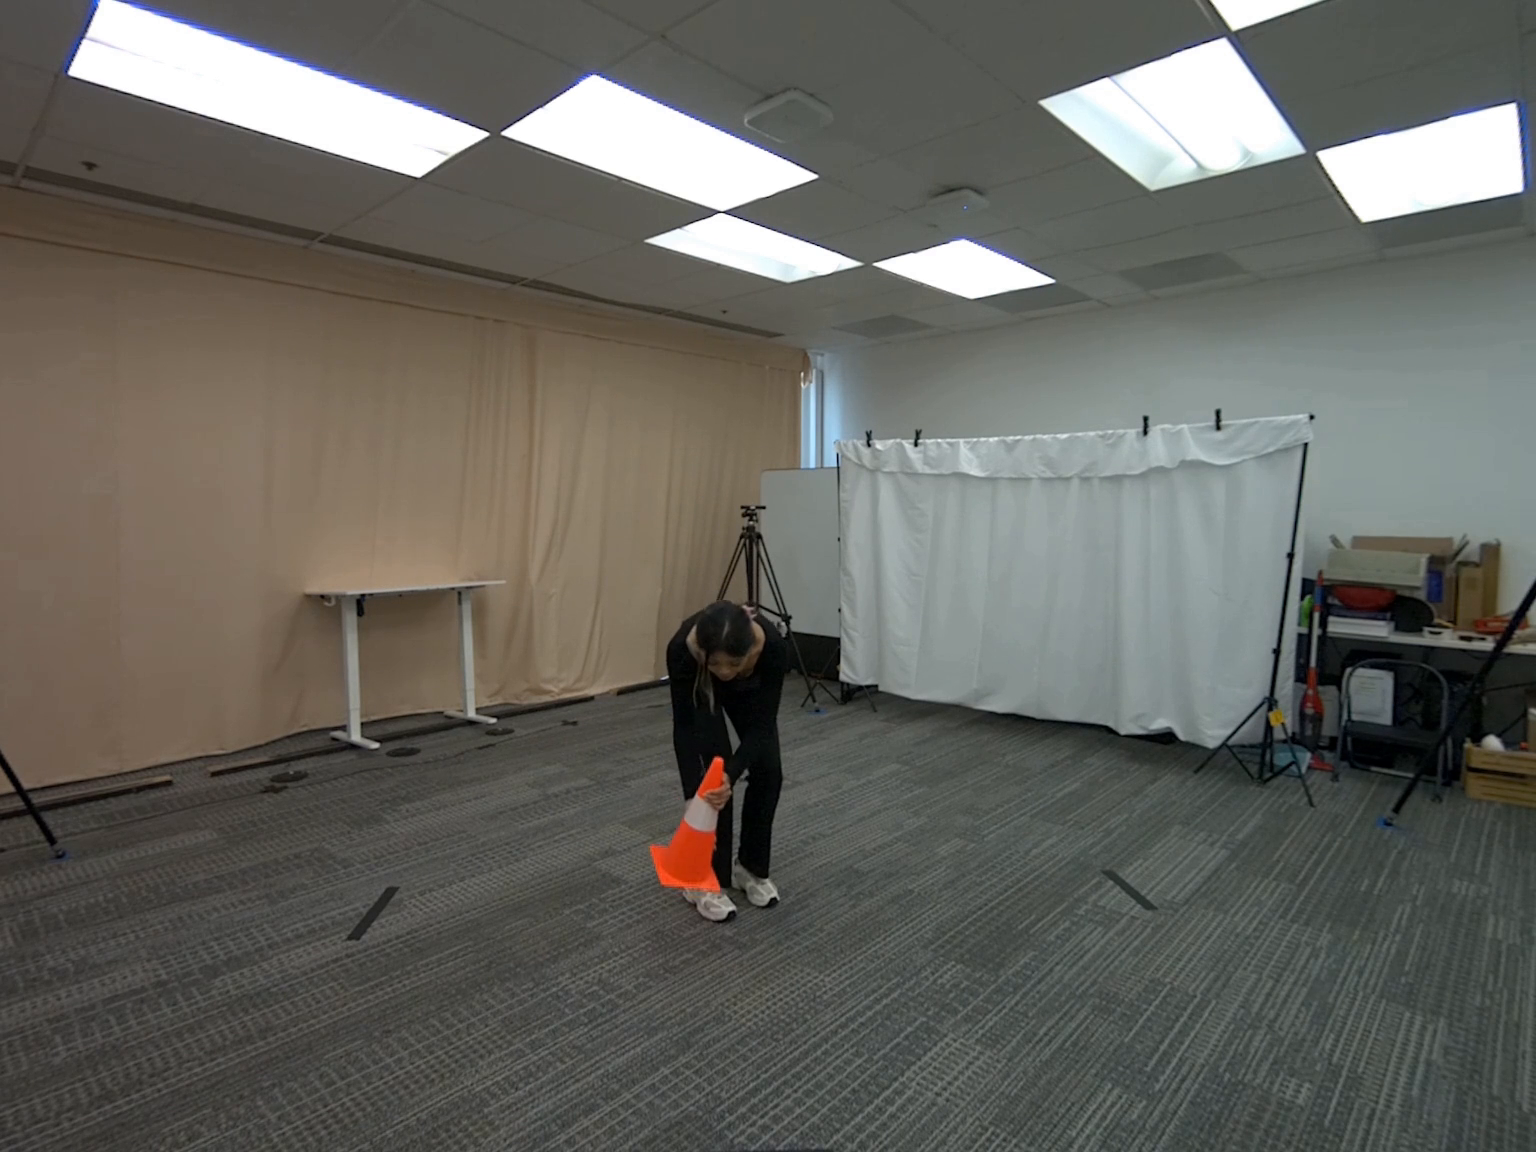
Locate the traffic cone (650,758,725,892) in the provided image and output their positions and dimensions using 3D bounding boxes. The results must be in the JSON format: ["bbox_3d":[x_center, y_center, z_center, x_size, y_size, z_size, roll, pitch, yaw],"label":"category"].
[{"bbox_3d":[-0.205,0.734,2.605,0.198,0.382,0.211,12,11,-25],"label":"traffic cone"}]
